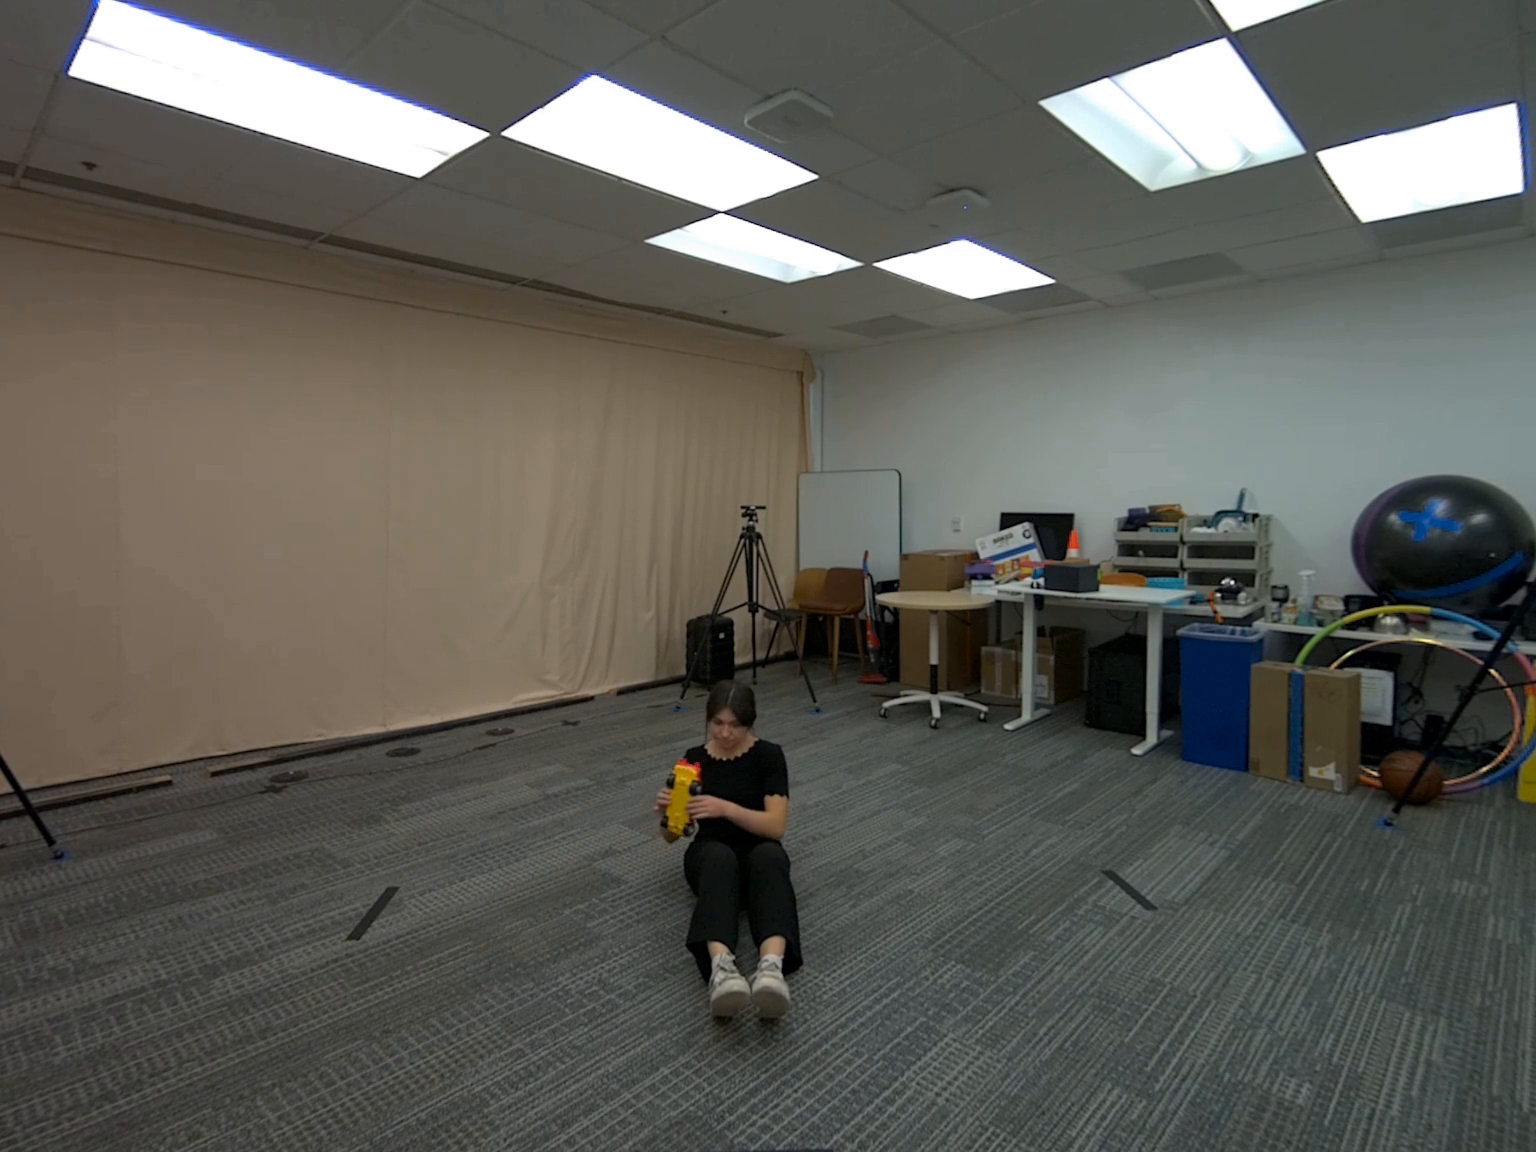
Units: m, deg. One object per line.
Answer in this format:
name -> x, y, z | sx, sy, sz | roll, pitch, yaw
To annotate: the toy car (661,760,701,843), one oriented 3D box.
toy car -> -0.284, 0.765, 2.880 | 0.134, 0.255, 0.081 | 12, -1, 23
